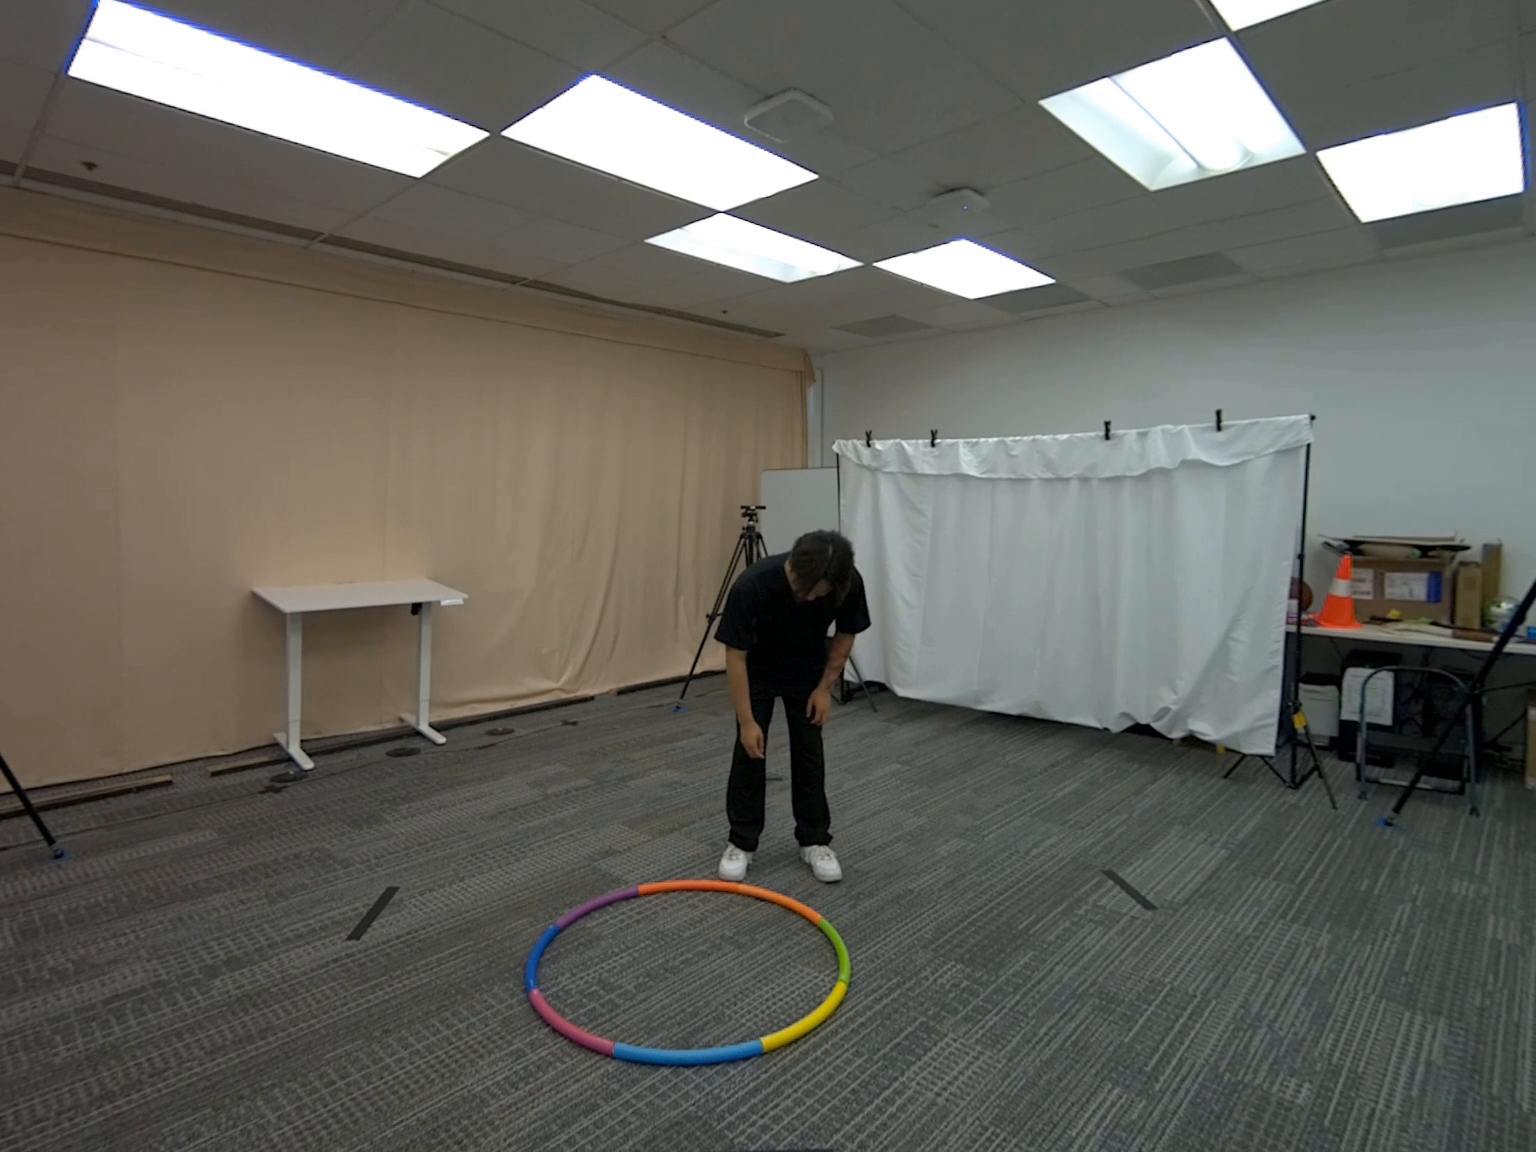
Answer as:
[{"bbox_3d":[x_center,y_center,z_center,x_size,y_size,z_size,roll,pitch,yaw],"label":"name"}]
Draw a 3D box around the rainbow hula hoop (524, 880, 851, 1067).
[{"bbox_3d":[-0.237,1.151,2.582,0.978,0.035,0.982,-1,4,-2],"label":"rainbow hula hoop"}]
